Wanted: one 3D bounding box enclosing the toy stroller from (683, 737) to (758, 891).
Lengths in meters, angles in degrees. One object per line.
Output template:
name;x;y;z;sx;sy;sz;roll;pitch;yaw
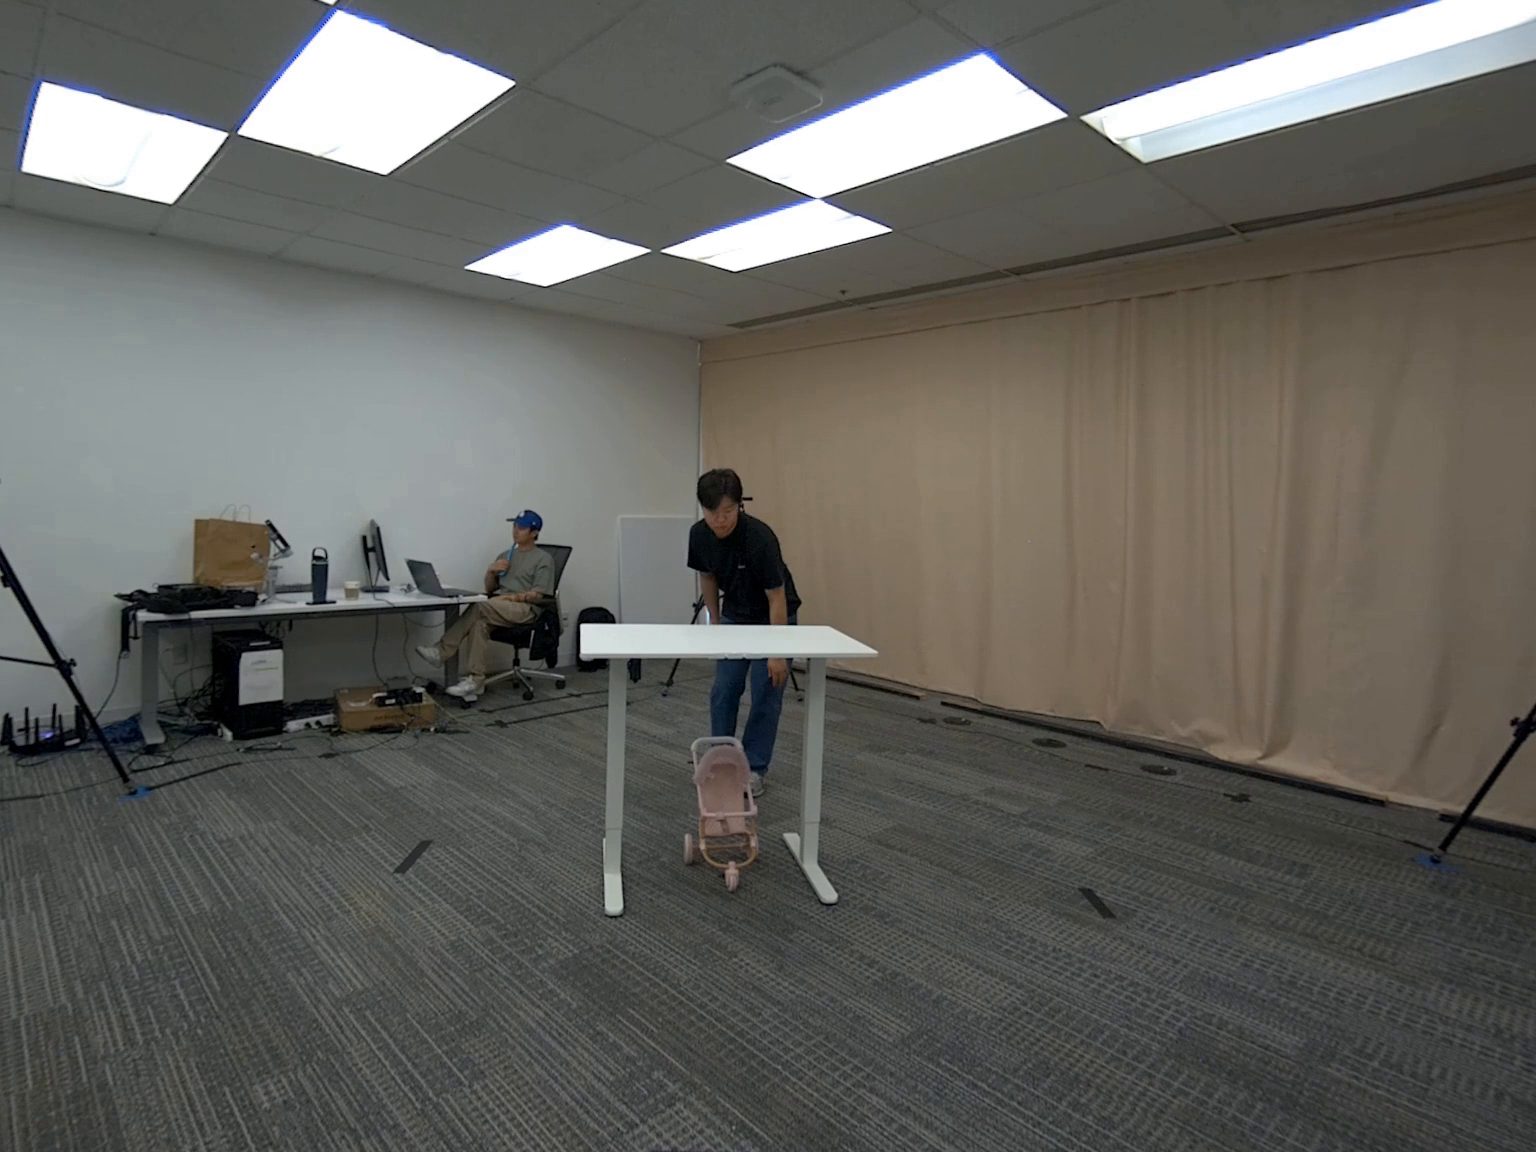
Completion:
toy stroller;-0.177;0.878;3.155;0.280;0.540;0.340;1;-11;-8
